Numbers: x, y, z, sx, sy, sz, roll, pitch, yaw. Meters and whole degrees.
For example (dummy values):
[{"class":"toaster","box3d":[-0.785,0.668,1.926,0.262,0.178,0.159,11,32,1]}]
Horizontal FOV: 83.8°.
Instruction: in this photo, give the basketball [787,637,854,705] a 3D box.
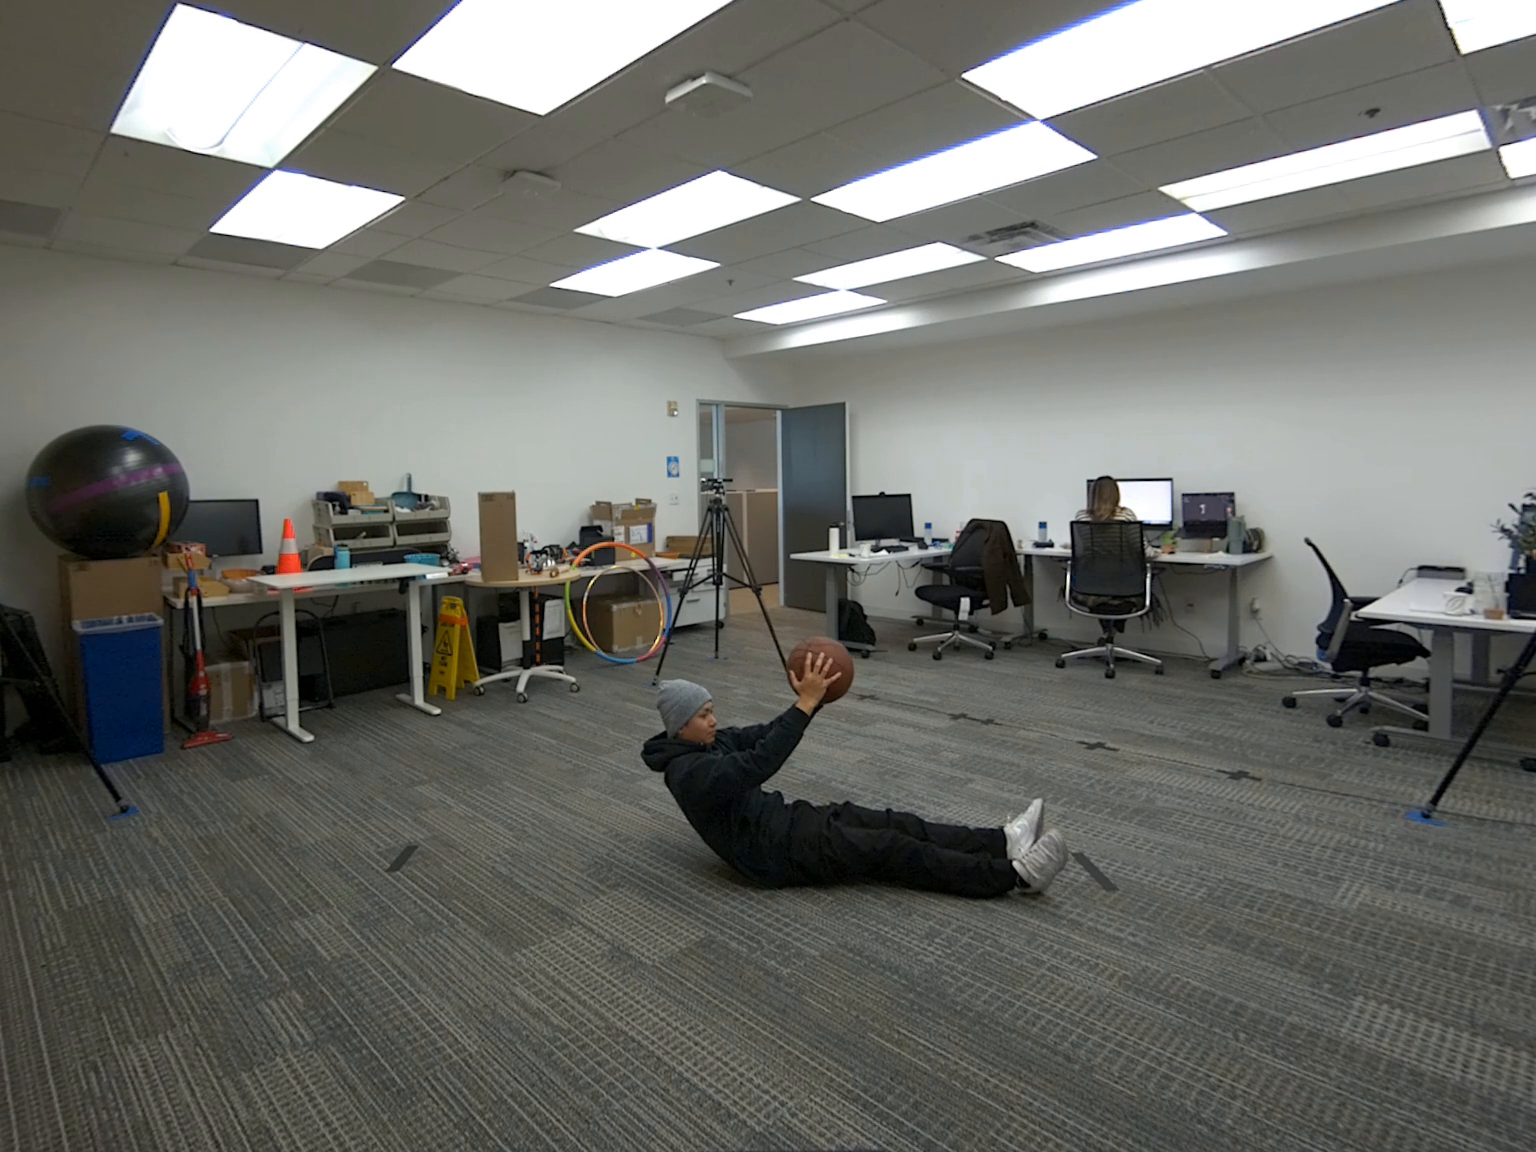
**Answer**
[{"class":"basketball","box3d":[0.185,0.334,3.028,0.236,0.235,0.237,-1,5,-2]}]
